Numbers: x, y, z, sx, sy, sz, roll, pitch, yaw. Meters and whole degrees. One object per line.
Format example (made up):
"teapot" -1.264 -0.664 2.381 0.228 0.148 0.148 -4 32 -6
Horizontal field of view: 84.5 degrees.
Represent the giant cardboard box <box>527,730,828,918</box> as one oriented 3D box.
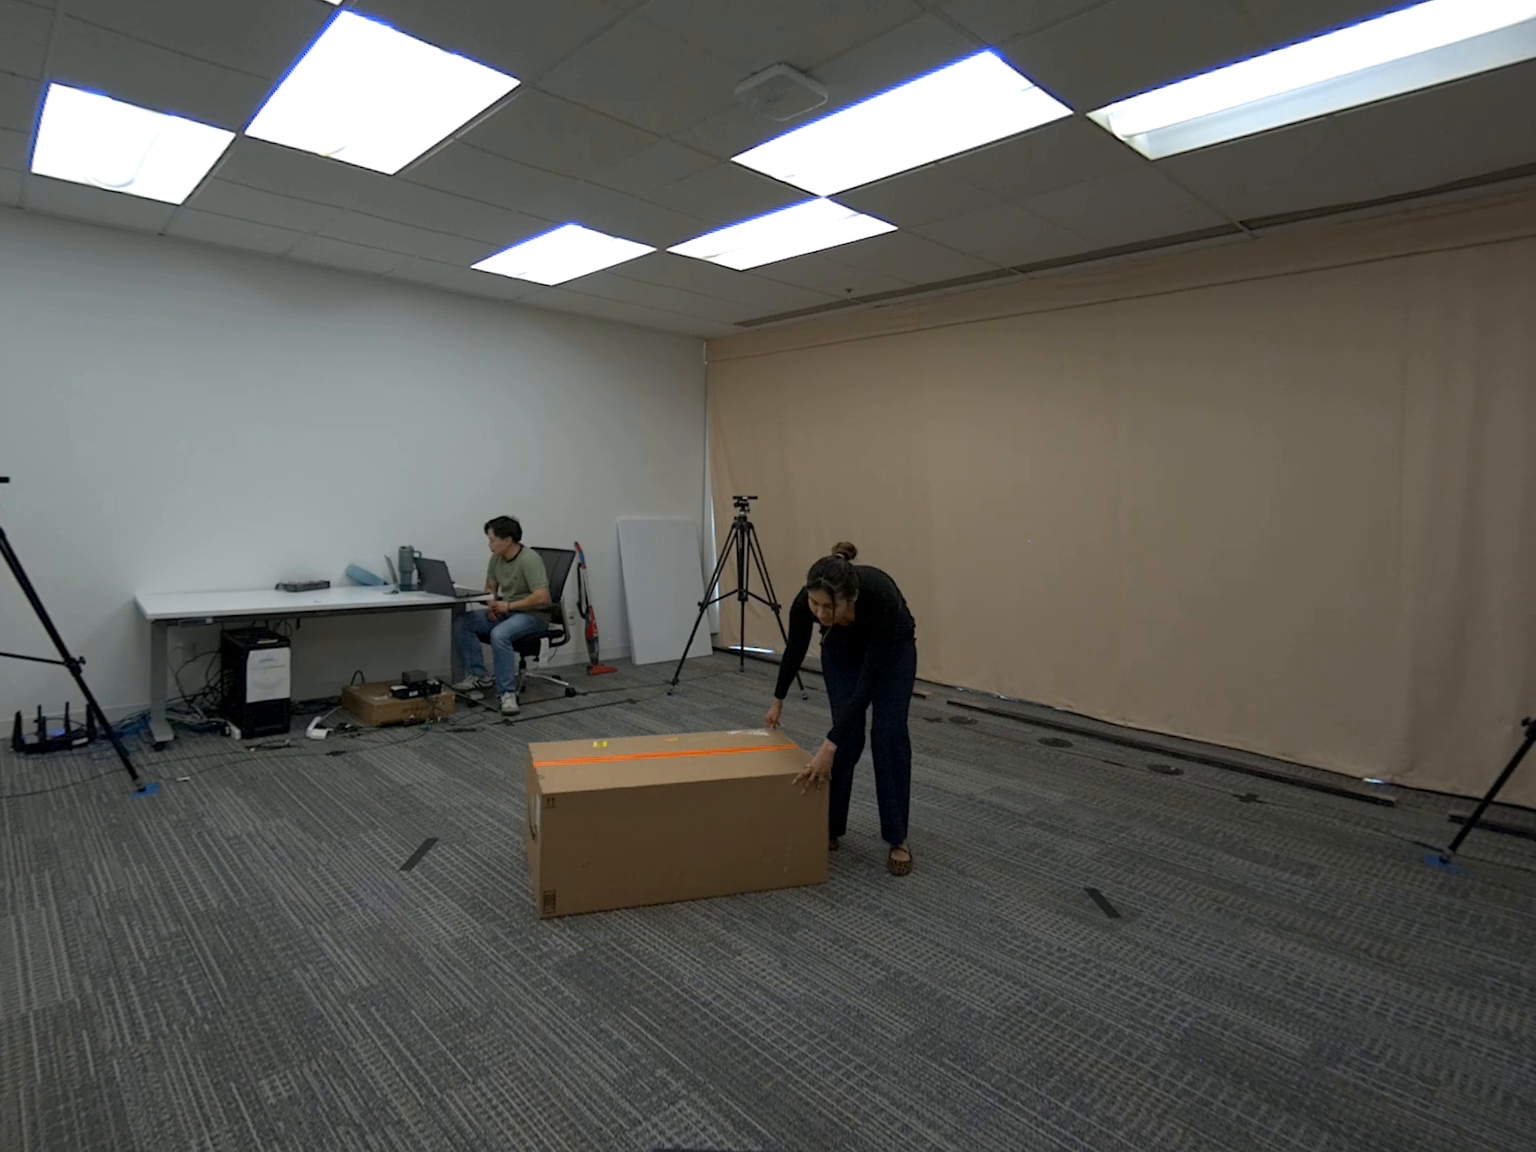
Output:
"giant cardboard box" -0.364 0.876 3.144 1.011 0.425 0.587 0 4 -19
